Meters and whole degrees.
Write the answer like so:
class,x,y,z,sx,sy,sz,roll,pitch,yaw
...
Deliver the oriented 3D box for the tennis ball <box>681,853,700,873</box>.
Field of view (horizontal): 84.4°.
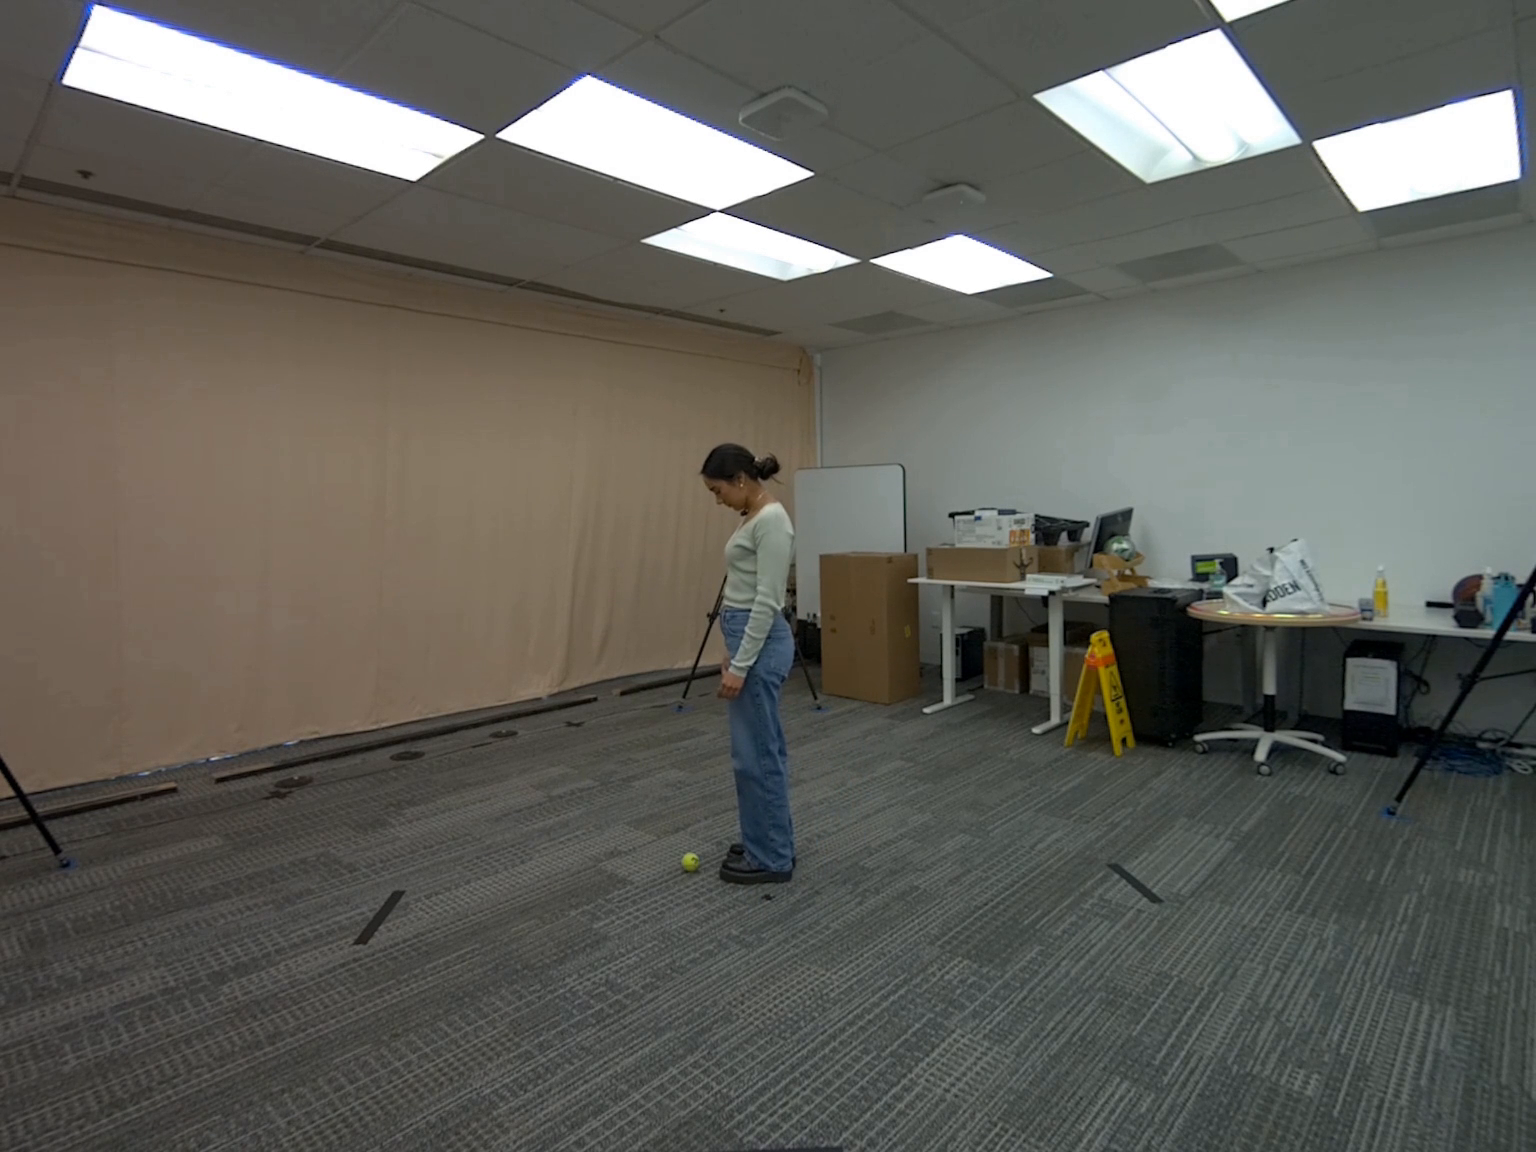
class,x,y,z,sx,sy,sz,roll,pitch,yaw
tennis ball,-0.291,1.082,3.205,0.066,0.066,0.067,-1,4,-2
